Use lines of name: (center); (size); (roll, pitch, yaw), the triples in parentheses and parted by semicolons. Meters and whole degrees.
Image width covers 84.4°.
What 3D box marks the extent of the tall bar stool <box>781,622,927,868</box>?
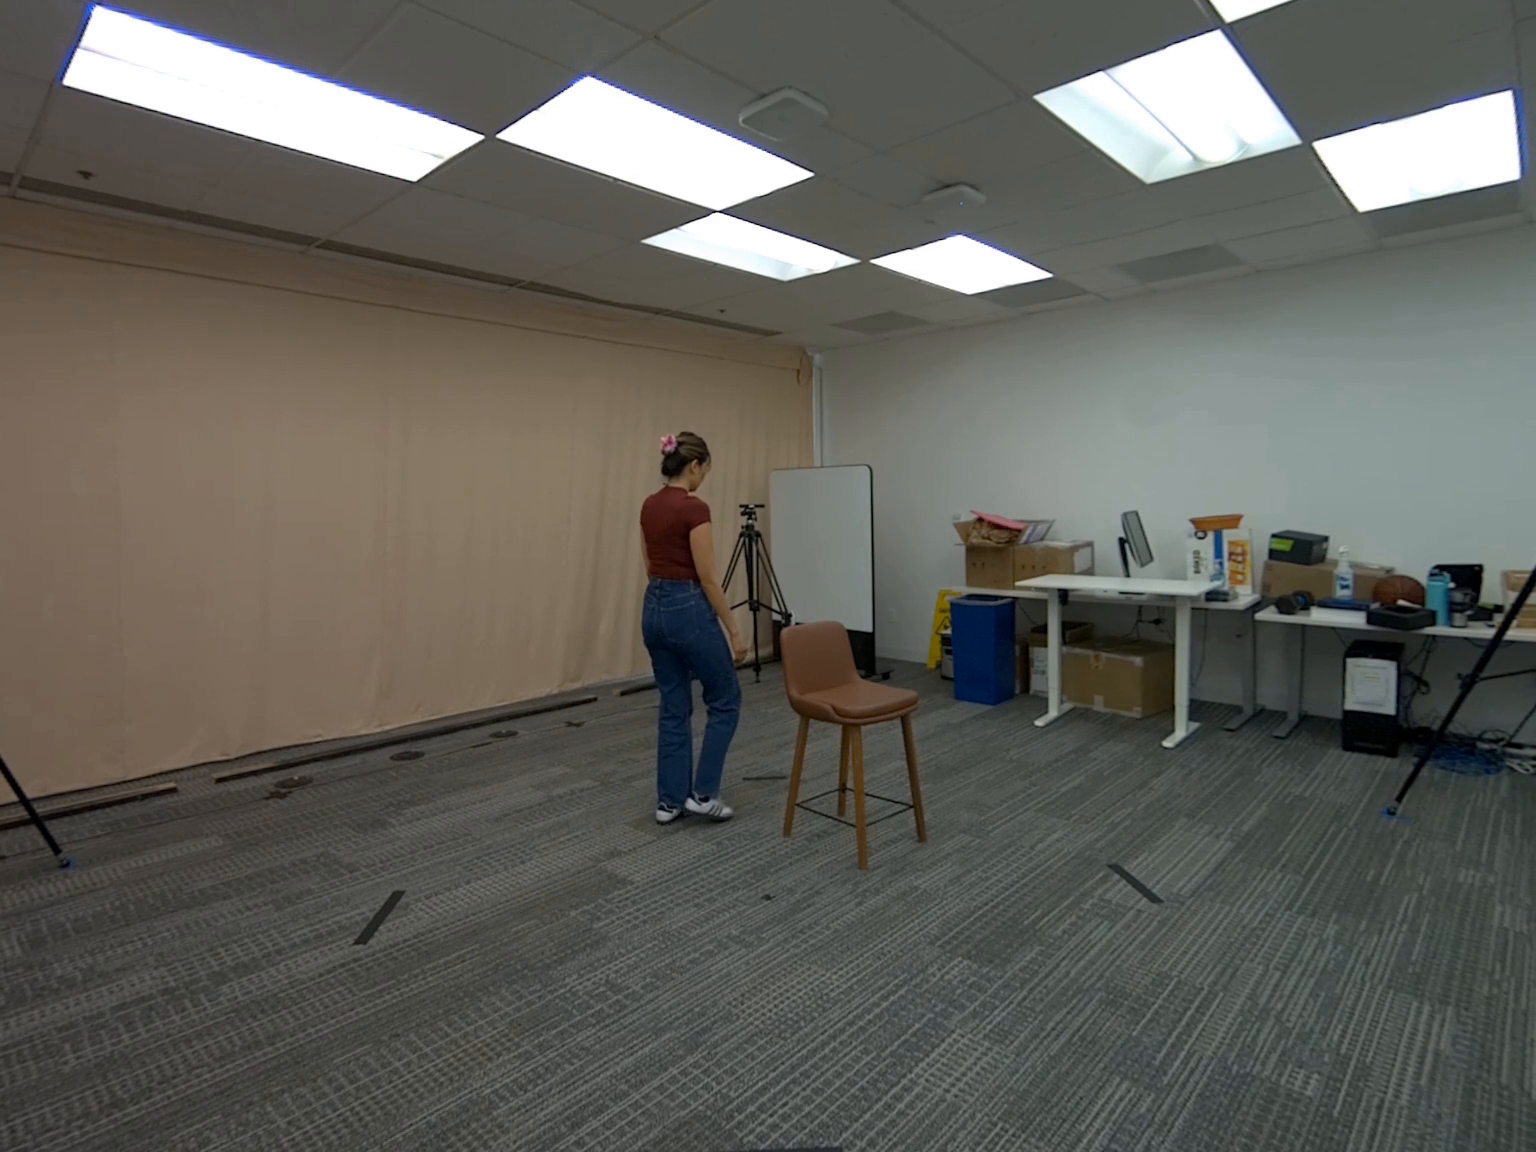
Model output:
tall bar stool: (0.343, 0.656, 3.475); (0.442, 0.889, 0.482); (-3, 2, -43)
